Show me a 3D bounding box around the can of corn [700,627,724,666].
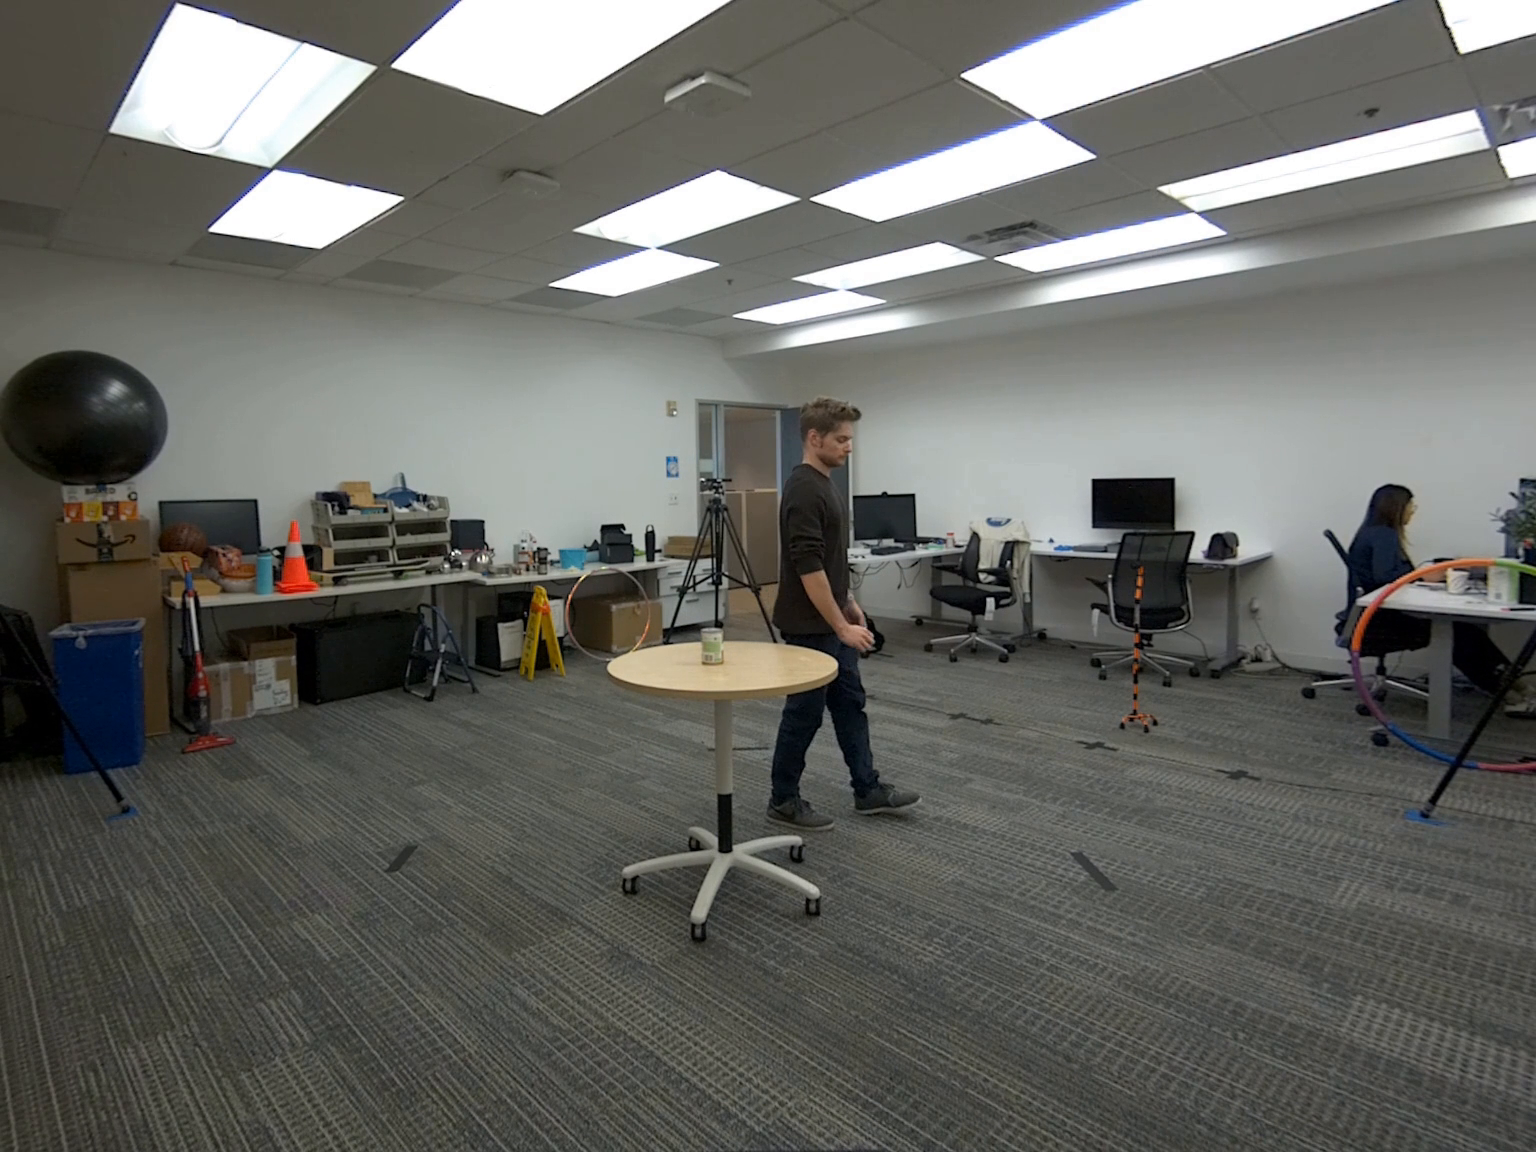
[{"bbox_3d":[-0.186,0.239,2.848,0.074,0.110,0.074,-2,6,-1],"label":"can of corn"}]
